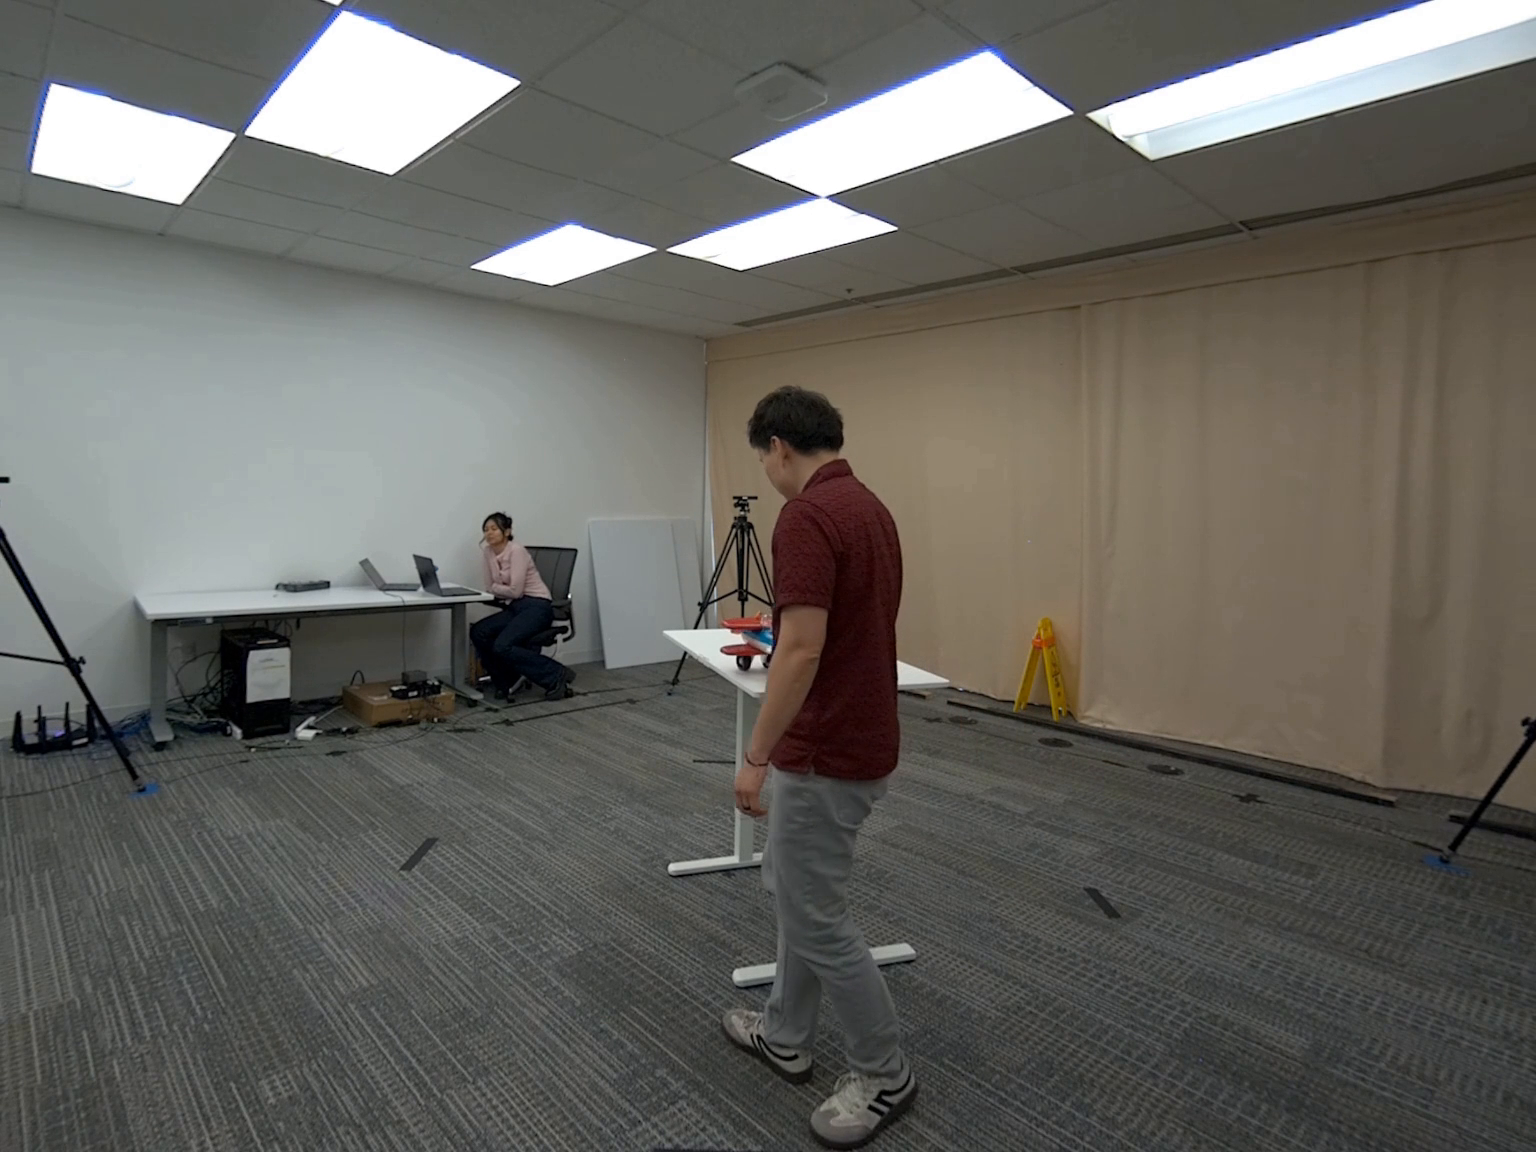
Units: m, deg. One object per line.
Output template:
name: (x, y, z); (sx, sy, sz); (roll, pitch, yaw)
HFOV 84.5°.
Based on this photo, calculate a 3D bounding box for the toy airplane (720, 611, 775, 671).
toy airplane: (0.013, 0.198, 2.450); (0.264, 0.157, 0.245); (-7, -6, 37)
